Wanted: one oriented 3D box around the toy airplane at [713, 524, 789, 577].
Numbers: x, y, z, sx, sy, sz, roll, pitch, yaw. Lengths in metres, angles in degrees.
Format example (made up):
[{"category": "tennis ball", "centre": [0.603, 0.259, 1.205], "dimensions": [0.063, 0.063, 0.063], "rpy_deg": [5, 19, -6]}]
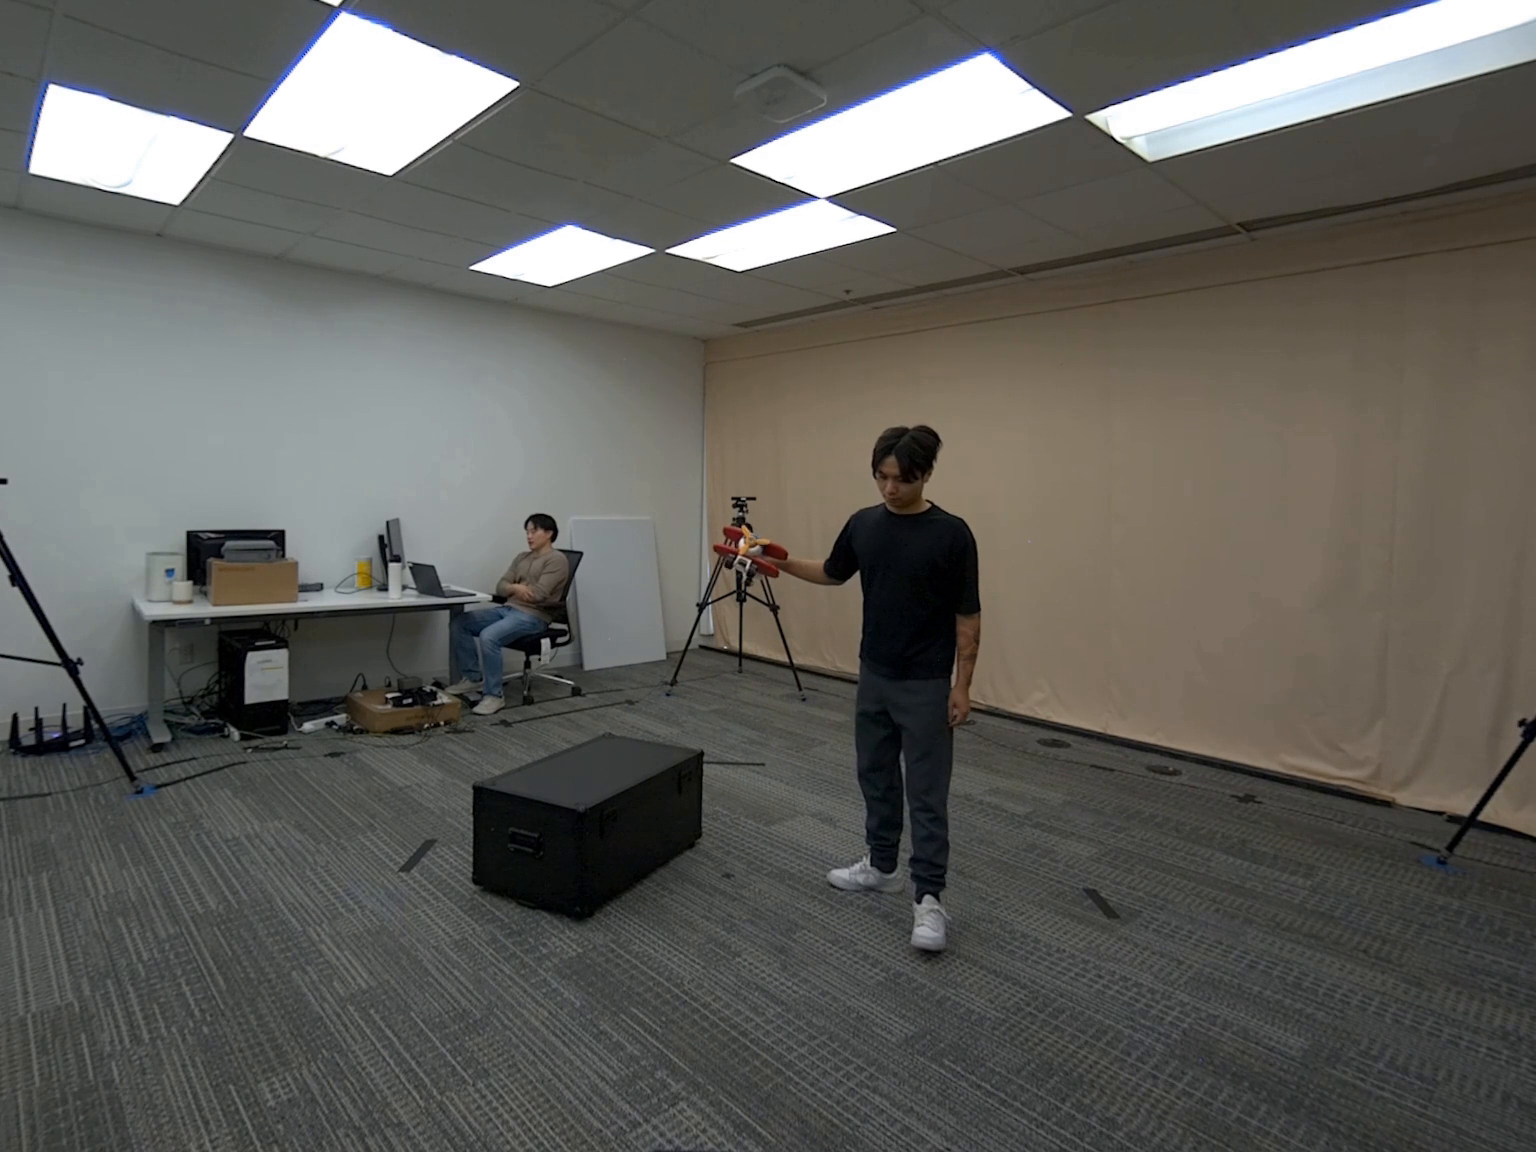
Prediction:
[{"category": "toy airplane", "centre": [-0.084, -0.072, 3.030], "dimensions": [0.247, 0.157, 0.263], "rpy_deg": [30, -12, -18]}]
